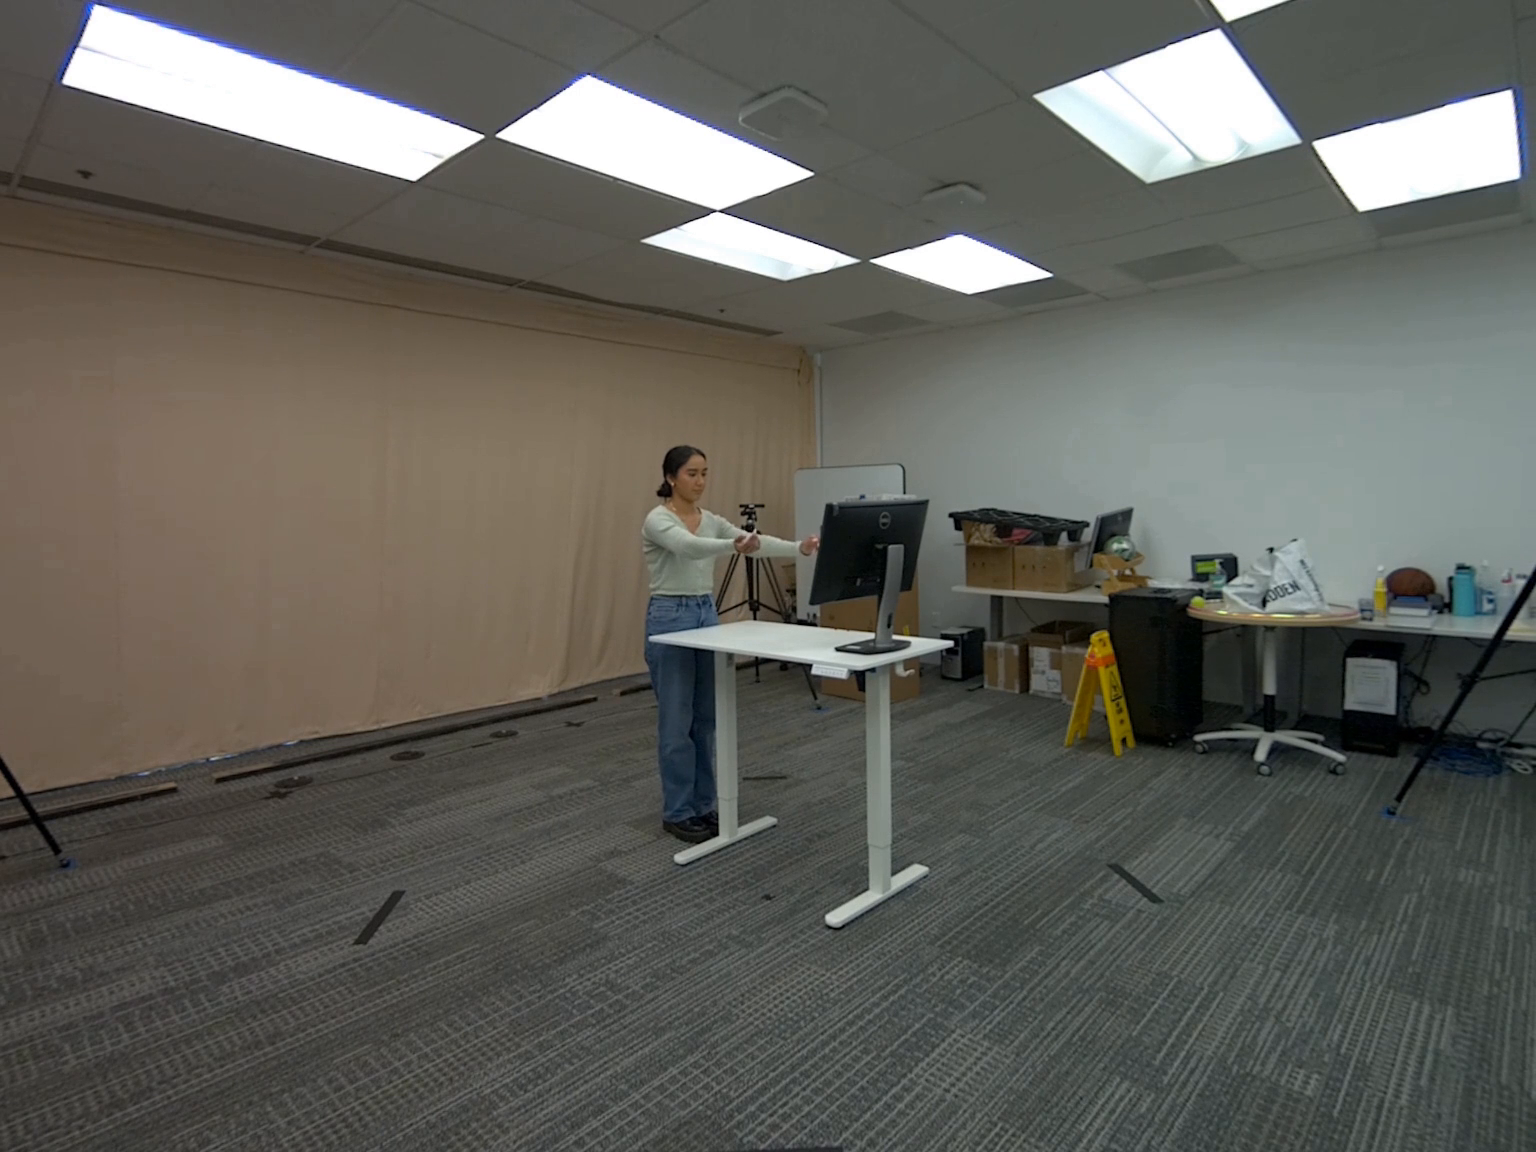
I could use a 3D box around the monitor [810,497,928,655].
[{"bbox_3d":[0.397,0.002,2.918,0.523,0.521,0.193,-6,7,-44],"label":"monitor"}]
